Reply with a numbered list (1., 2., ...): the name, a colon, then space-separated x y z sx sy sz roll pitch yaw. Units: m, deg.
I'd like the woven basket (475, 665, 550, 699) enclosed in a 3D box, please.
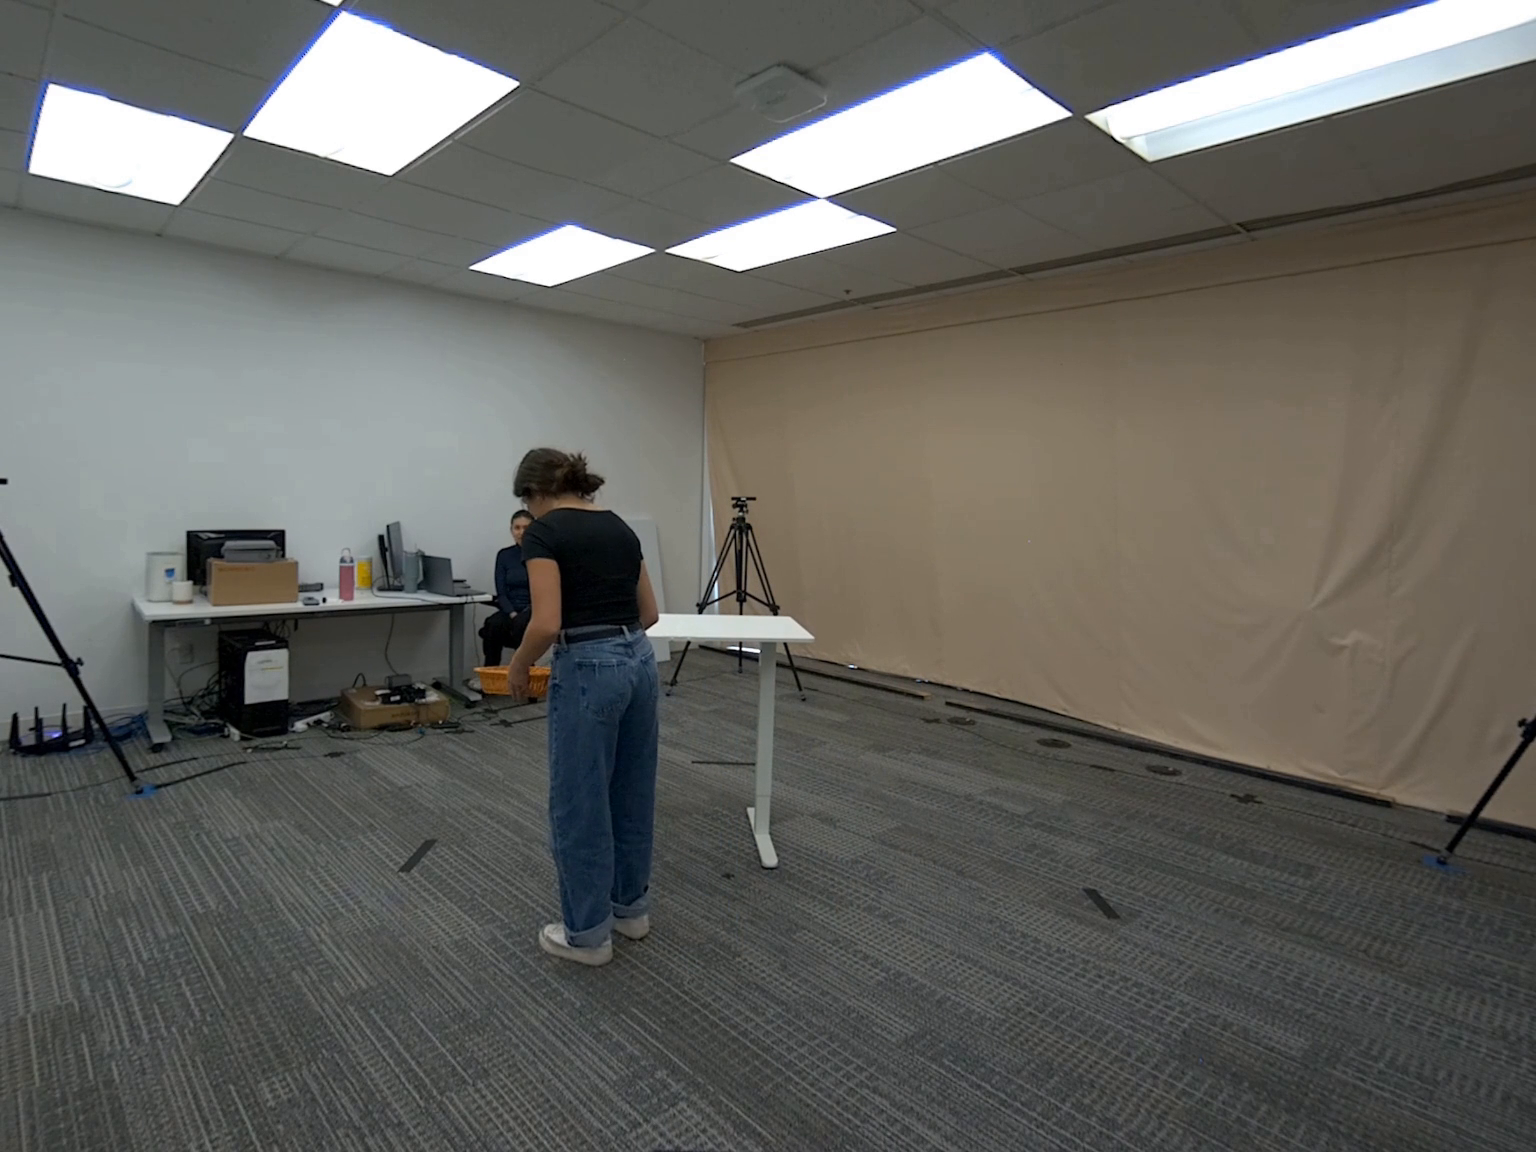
1. woven basket: -0.777 0.333 2.648 0.357 0.073 0.247 1 1 28
